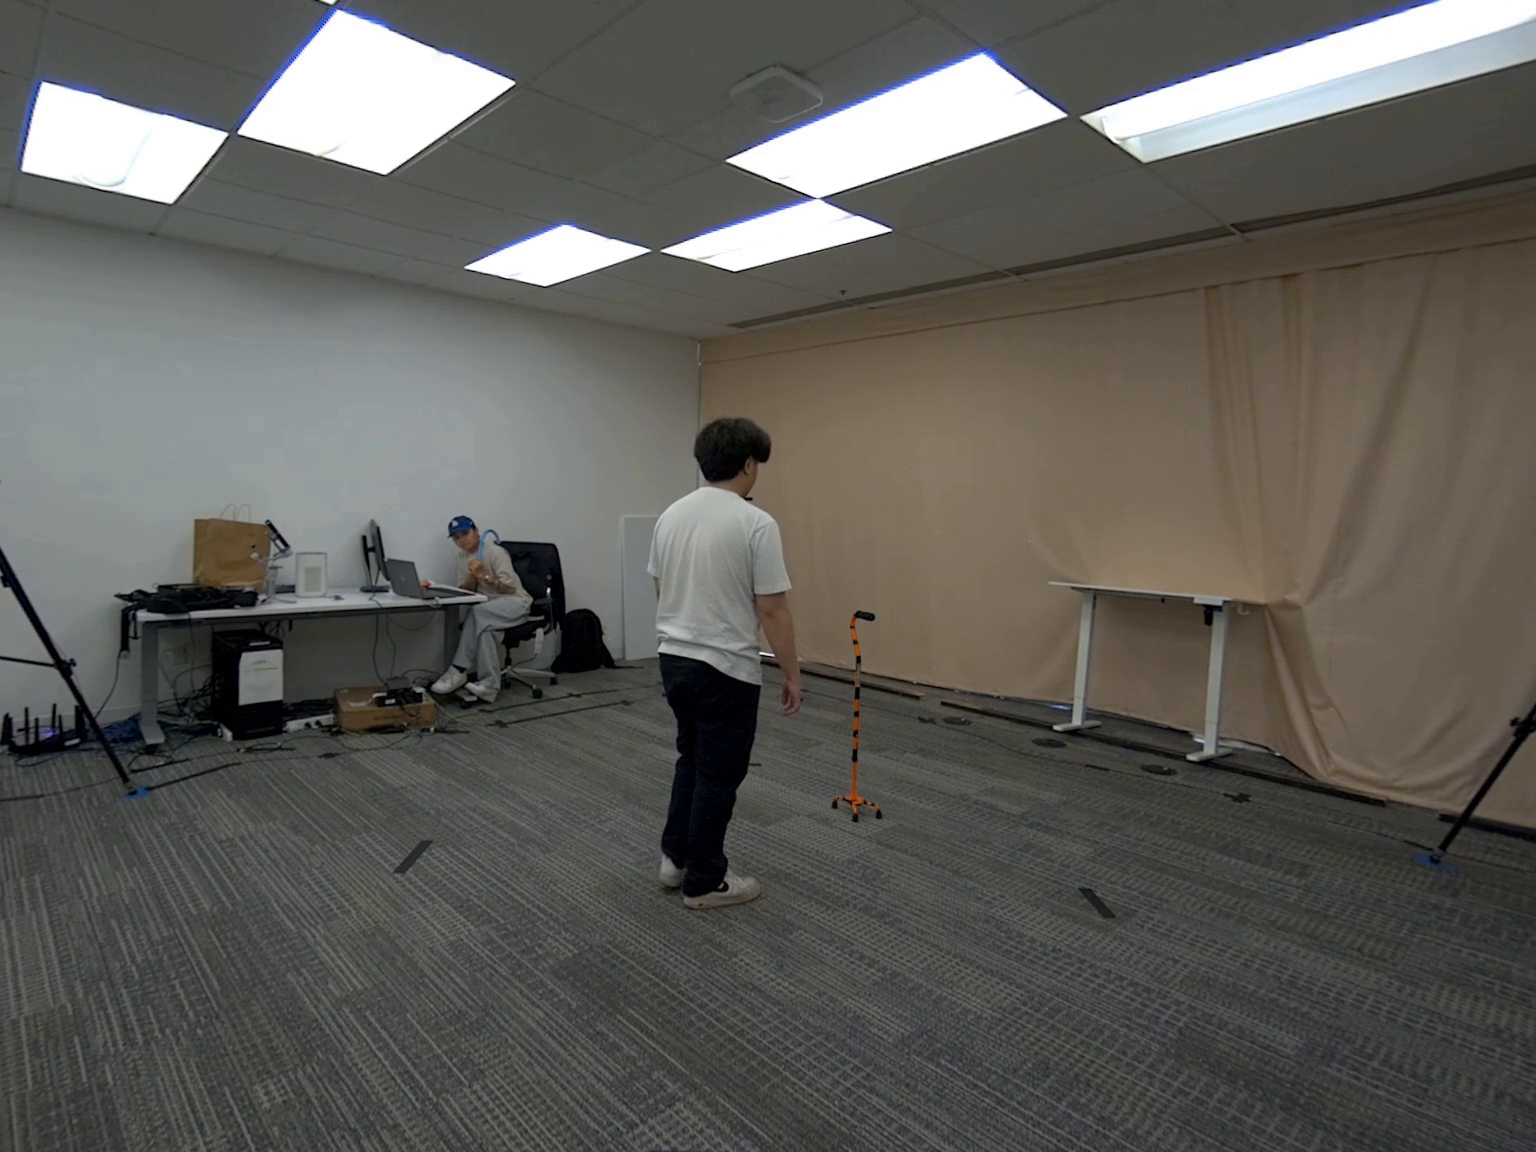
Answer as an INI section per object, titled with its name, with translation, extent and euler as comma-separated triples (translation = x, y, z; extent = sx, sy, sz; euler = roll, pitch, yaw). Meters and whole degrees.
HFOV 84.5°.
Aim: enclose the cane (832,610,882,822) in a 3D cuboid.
[cane]
translation = 0.402, 0.614, 3.763
extent = 0.149, 0.906, 0.210
euler = 0, 3, -24
